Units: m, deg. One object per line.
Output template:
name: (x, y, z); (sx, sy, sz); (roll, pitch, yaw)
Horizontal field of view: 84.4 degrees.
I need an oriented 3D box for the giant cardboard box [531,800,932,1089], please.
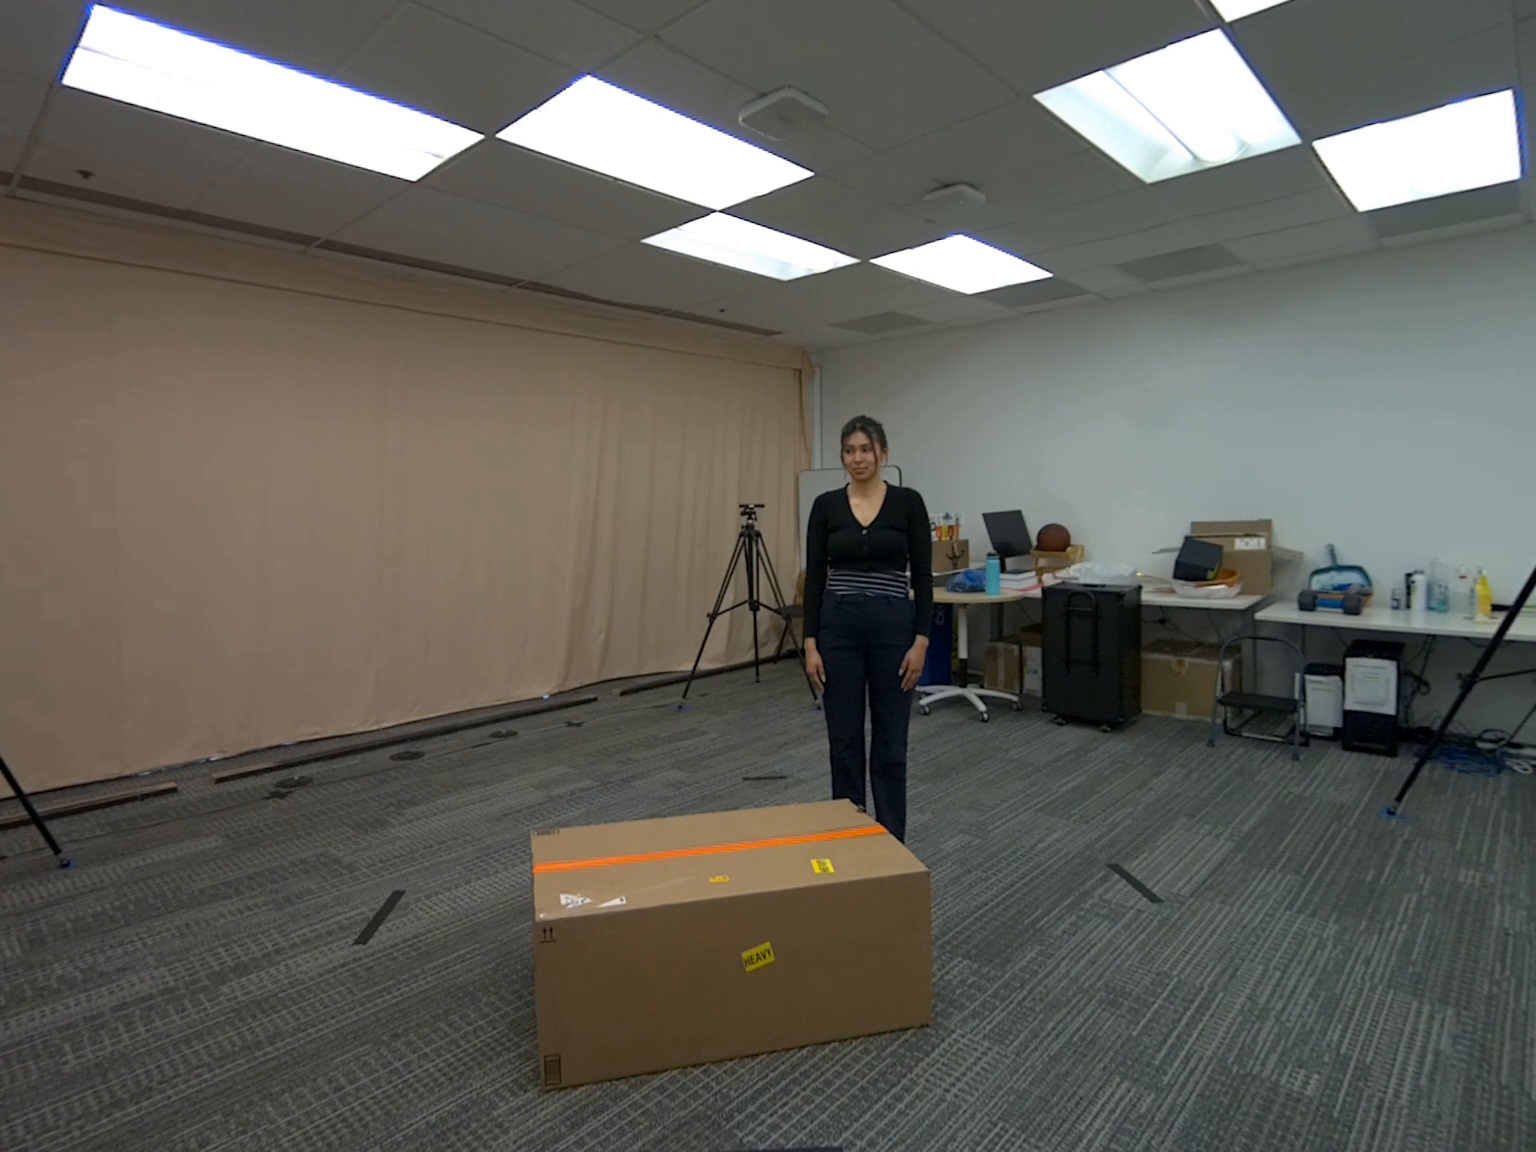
giant cardboard box: (-0.143, 0.979, 2.384); (1.011, 0.425, 0.588); (-2, 5, -14)
